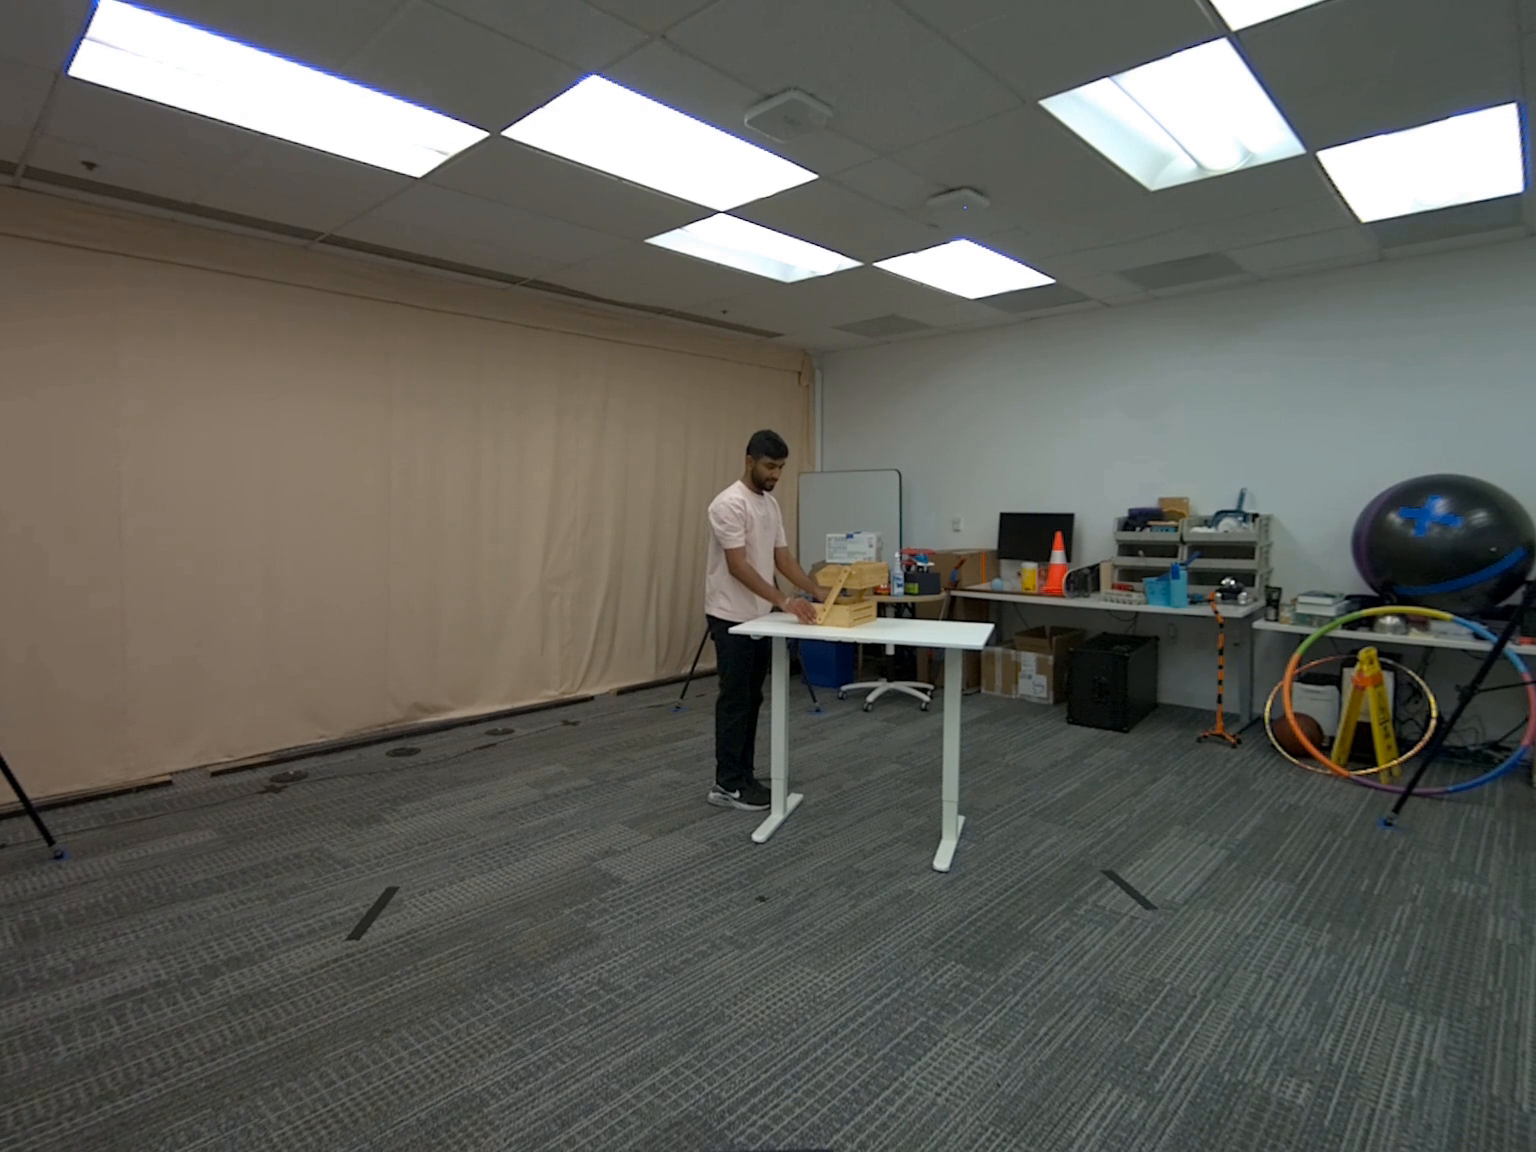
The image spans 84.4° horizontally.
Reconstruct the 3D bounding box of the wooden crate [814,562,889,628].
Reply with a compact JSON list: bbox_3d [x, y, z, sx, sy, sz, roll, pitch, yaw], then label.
[{"bbox_3d":[0.324,0.071,3.679,0.311,0.272,0.315,3,5,32],"label":"wooden crate"}]
